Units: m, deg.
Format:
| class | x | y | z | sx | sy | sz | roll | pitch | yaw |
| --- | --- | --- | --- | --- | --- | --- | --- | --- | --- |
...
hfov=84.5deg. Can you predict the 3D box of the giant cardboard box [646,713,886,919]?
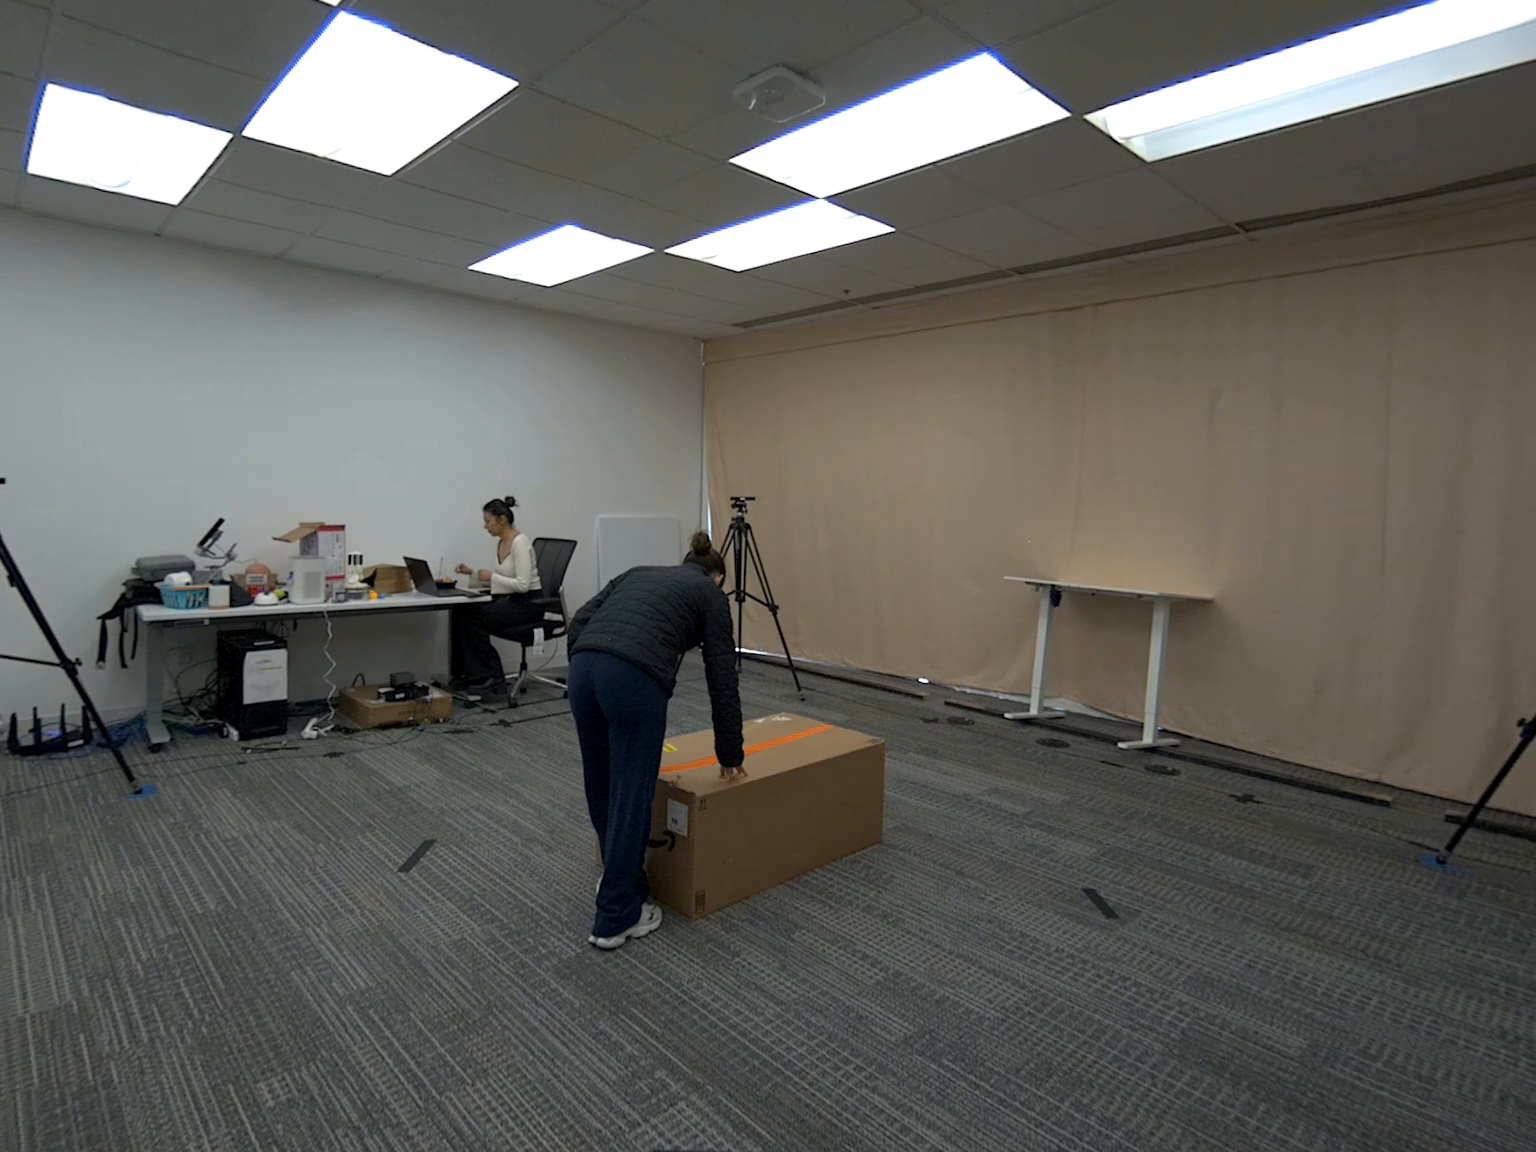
| class | x | y | z | sx | sy | sz | roll | pitch | yaw |
| --- | --- | --- | --- | --- | --- | --- | --- | --- | --- |
| giant cardboard box | -0.090 | 0.884 | 3.294 | 1.003 | 0.445 | 0.599 | -3 | 7 | -45 |
